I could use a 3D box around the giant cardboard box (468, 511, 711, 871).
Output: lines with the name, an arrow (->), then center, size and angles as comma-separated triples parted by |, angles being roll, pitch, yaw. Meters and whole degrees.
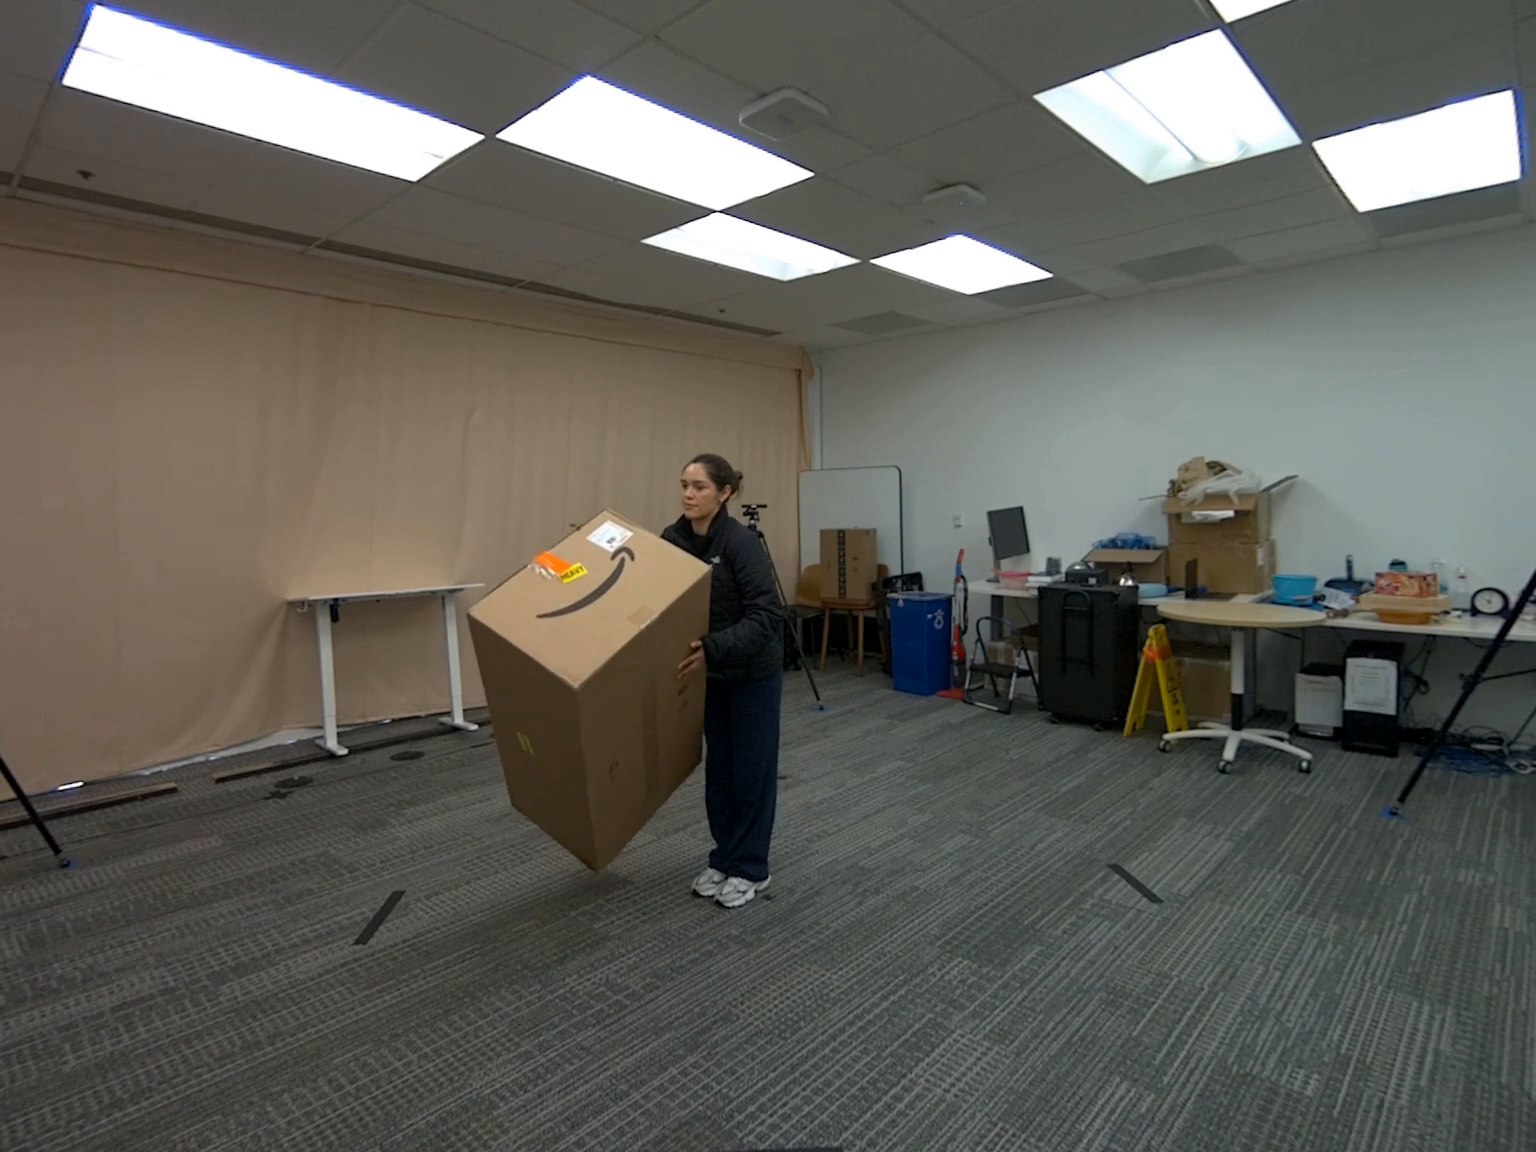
giant cardboard box -> -0.526, 0.389, 2.724 | 0.438, 1.009, 0.571 | 29, 48, 21
